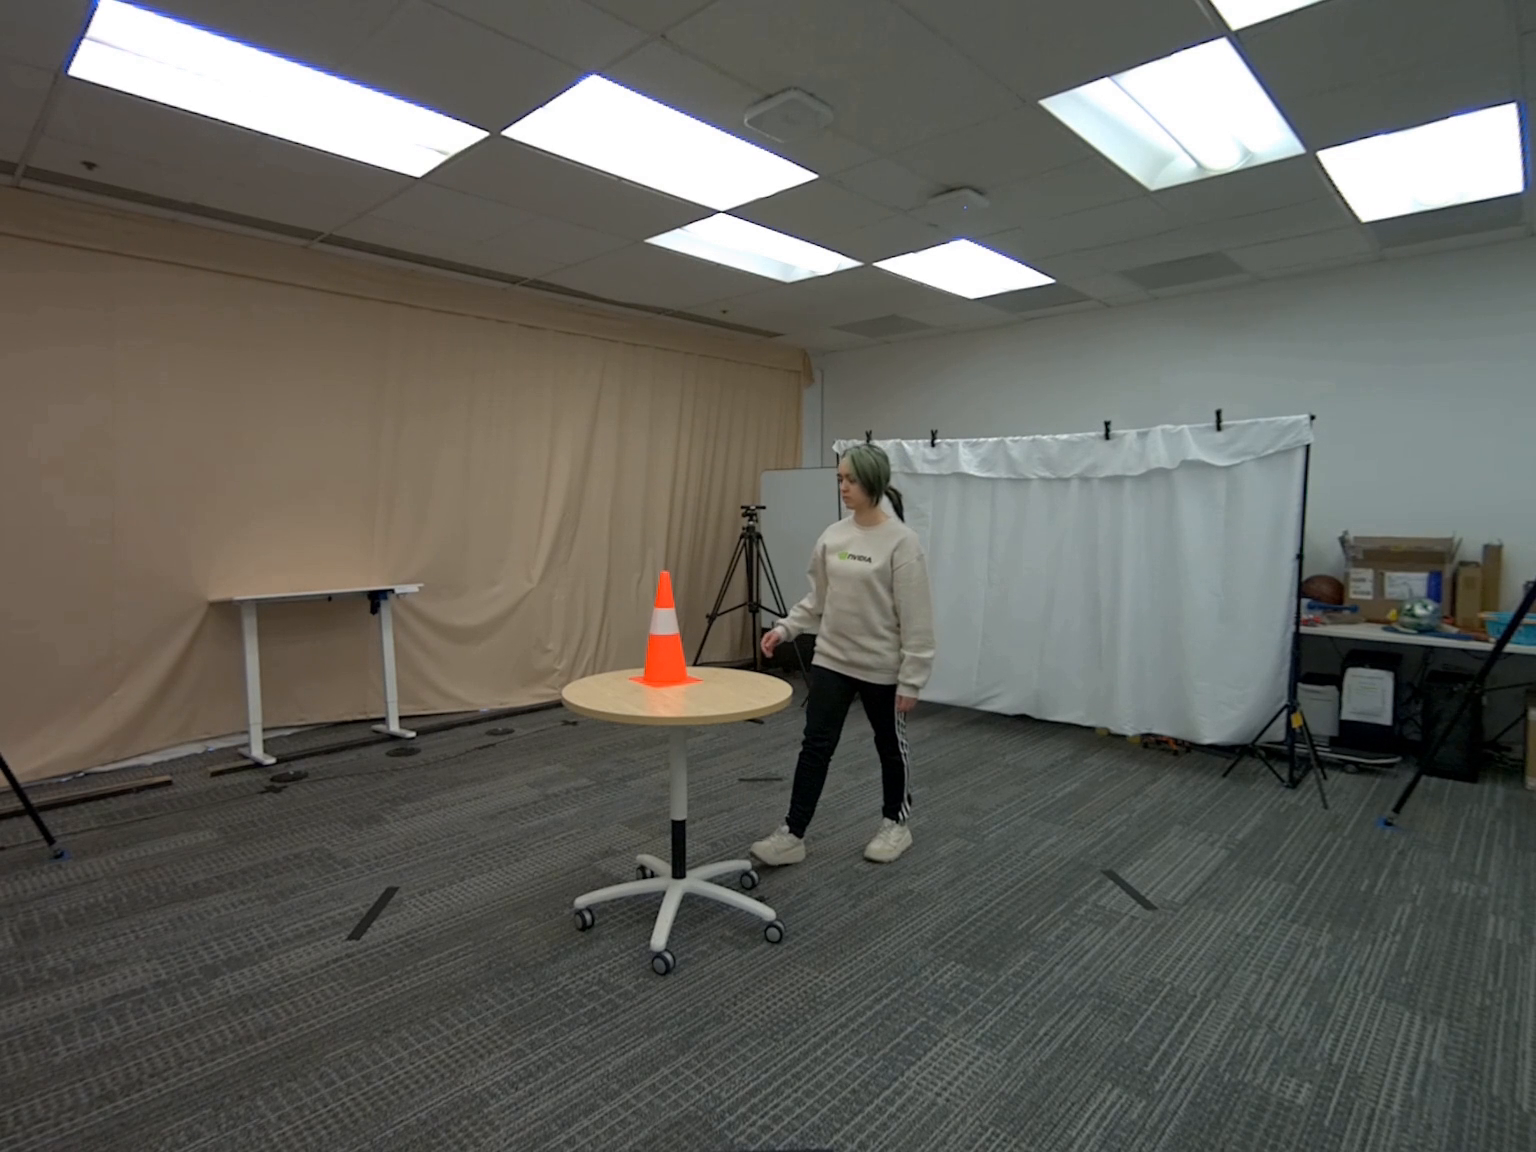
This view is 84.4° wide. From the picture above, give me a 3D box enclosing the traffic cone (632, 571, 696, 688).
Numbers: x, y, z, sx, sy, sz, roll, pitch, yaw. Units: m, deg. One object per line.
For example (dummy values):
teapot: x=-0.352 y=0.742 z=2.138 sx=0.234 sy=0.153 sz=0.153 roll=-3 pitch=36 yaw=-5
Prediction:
traffic cone: x=-0.359 y=0.178 z=2.951 sx=0.197 sy=0.383 sz=0.211 roll=-3 pitch=2 yaw=-43
